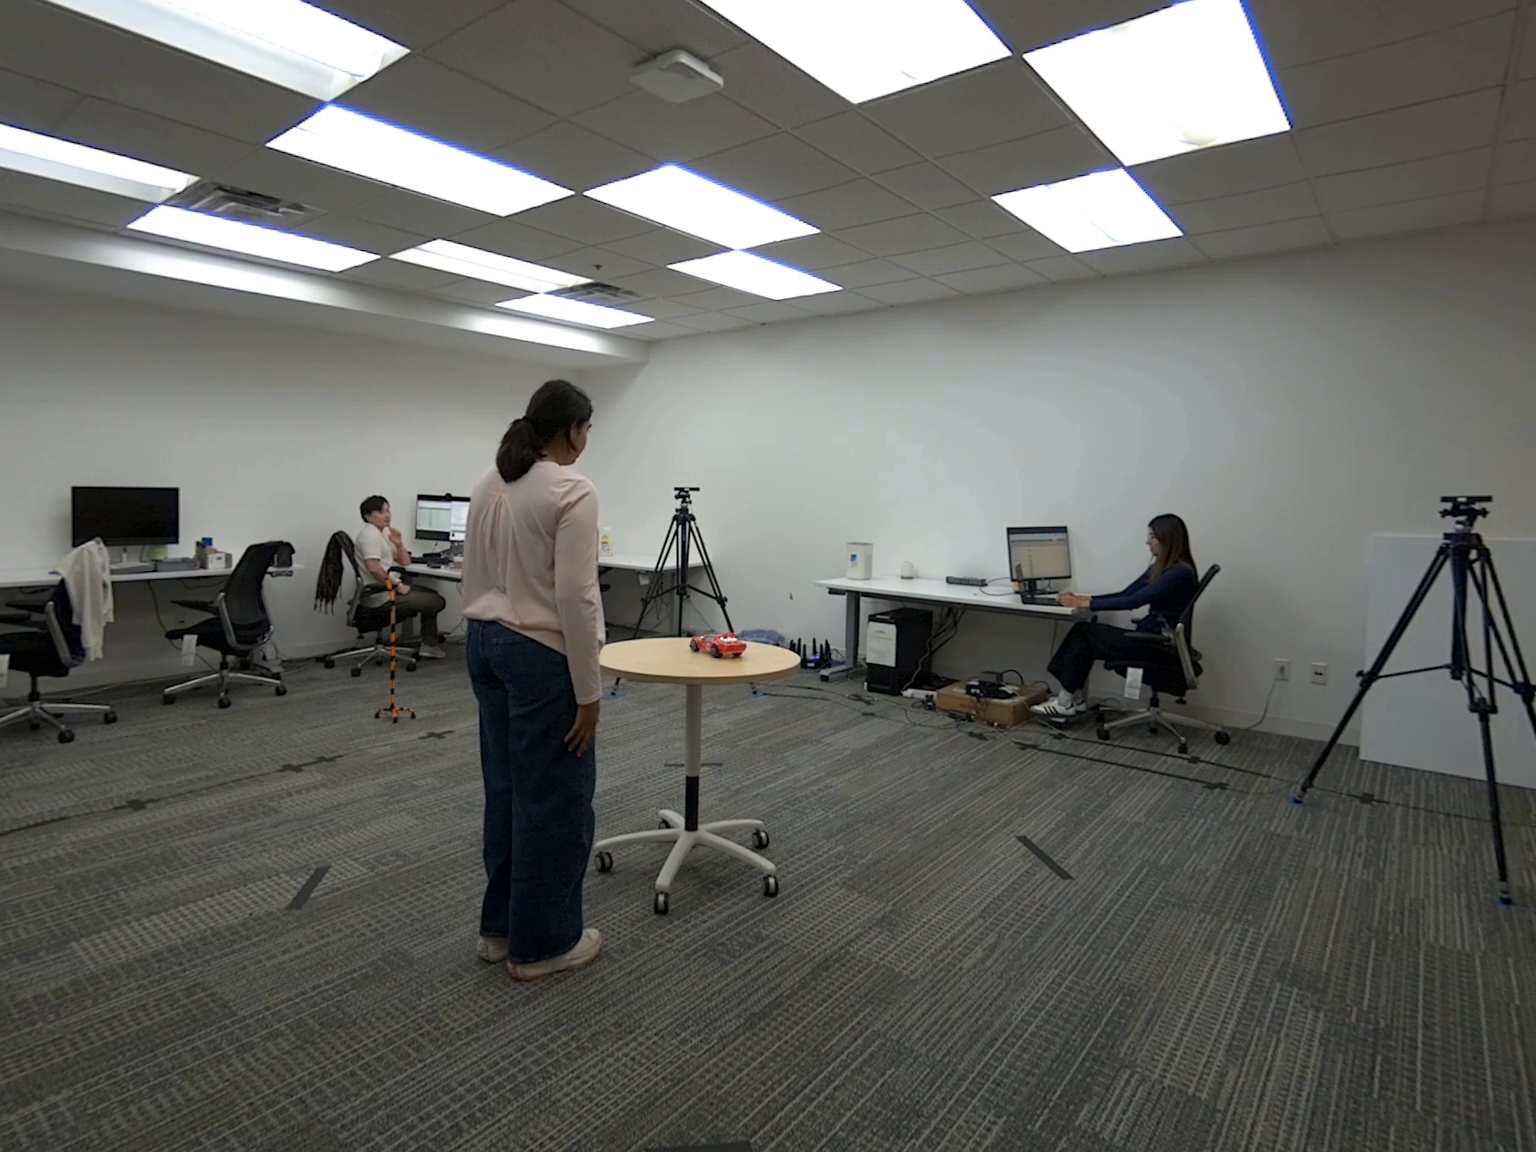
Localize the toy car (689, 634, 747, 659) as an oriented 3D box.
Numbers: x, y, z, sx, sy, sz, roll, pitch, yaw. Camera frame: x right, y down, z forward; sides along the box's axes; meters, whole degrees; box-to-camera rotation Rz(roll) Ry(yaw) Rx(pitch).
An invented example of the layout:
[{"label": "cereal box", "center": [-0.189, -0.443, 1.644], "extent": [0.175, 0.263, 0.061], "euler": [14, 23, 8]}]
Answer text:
[{"label": "toy car", "center": [-0.189, 0.252, 3.111], "extent": [0.126, 0.084, 0.260], "euler": [-1, -5, -35]}]
